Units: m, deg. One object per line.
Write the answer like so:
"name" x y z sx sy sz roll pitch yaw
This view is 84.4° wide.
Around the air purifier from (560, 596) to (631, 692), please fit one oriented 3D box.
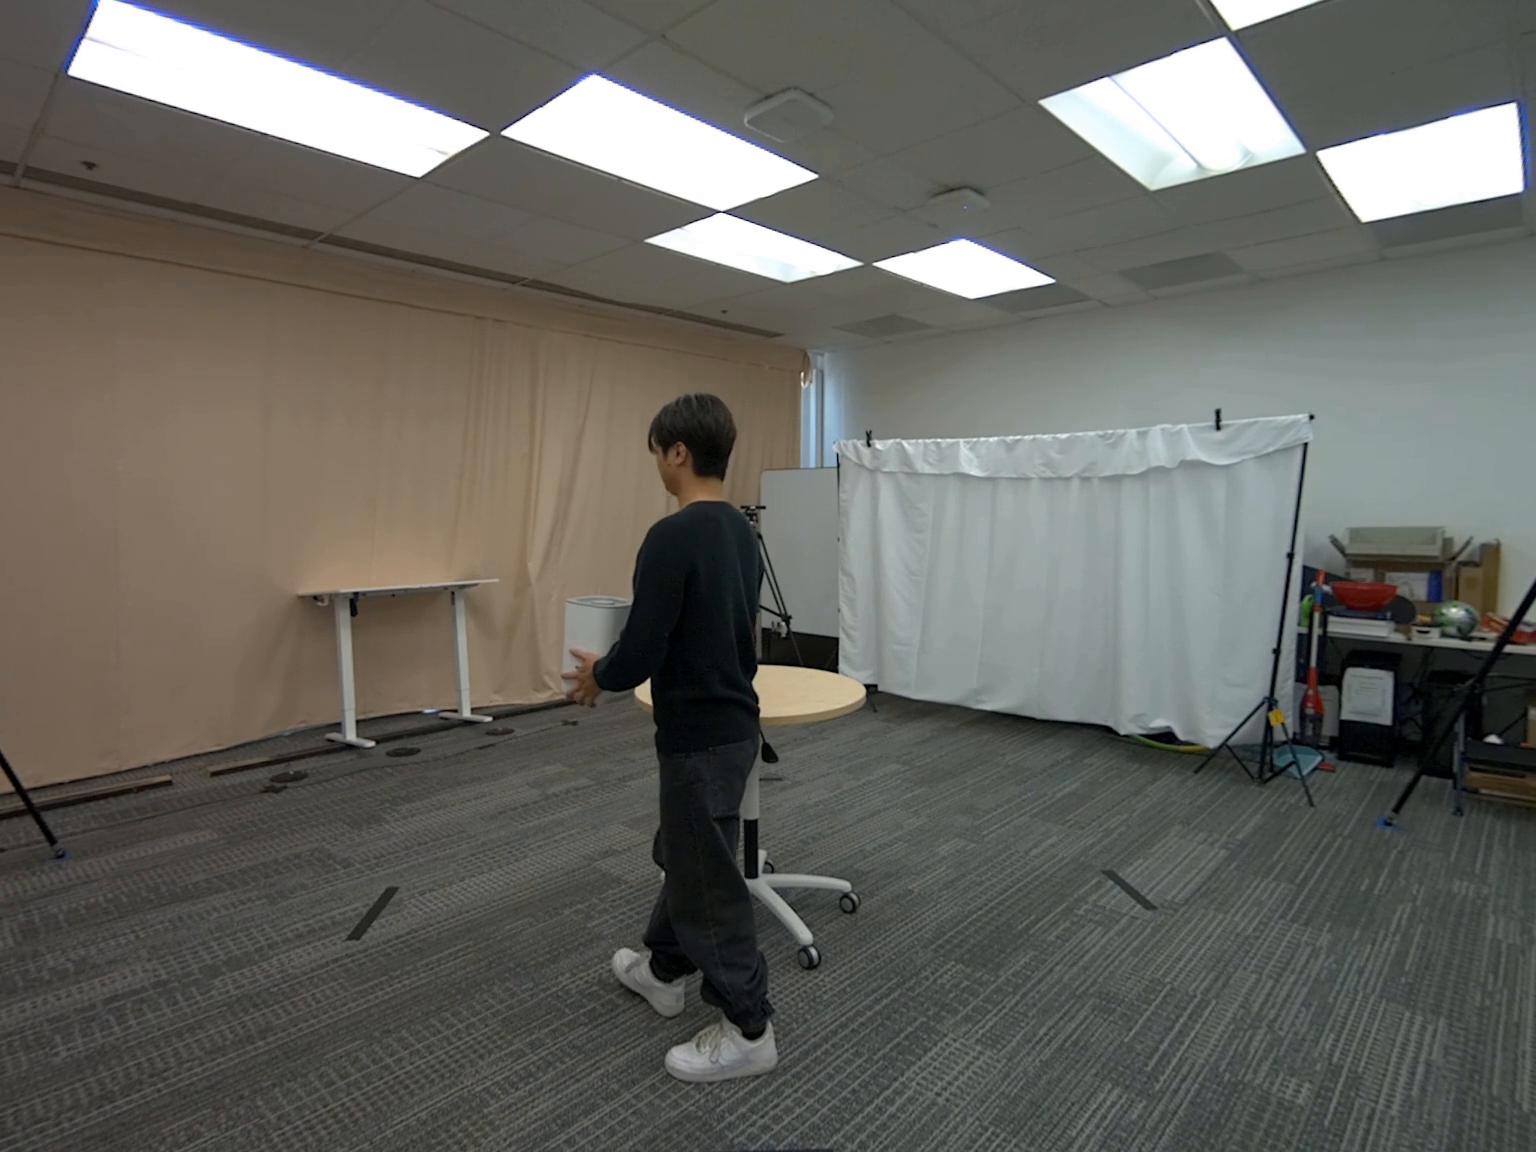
"air purifier" -0.447 0.200 2.253 0.176 0.264 0.167 8 6 26
